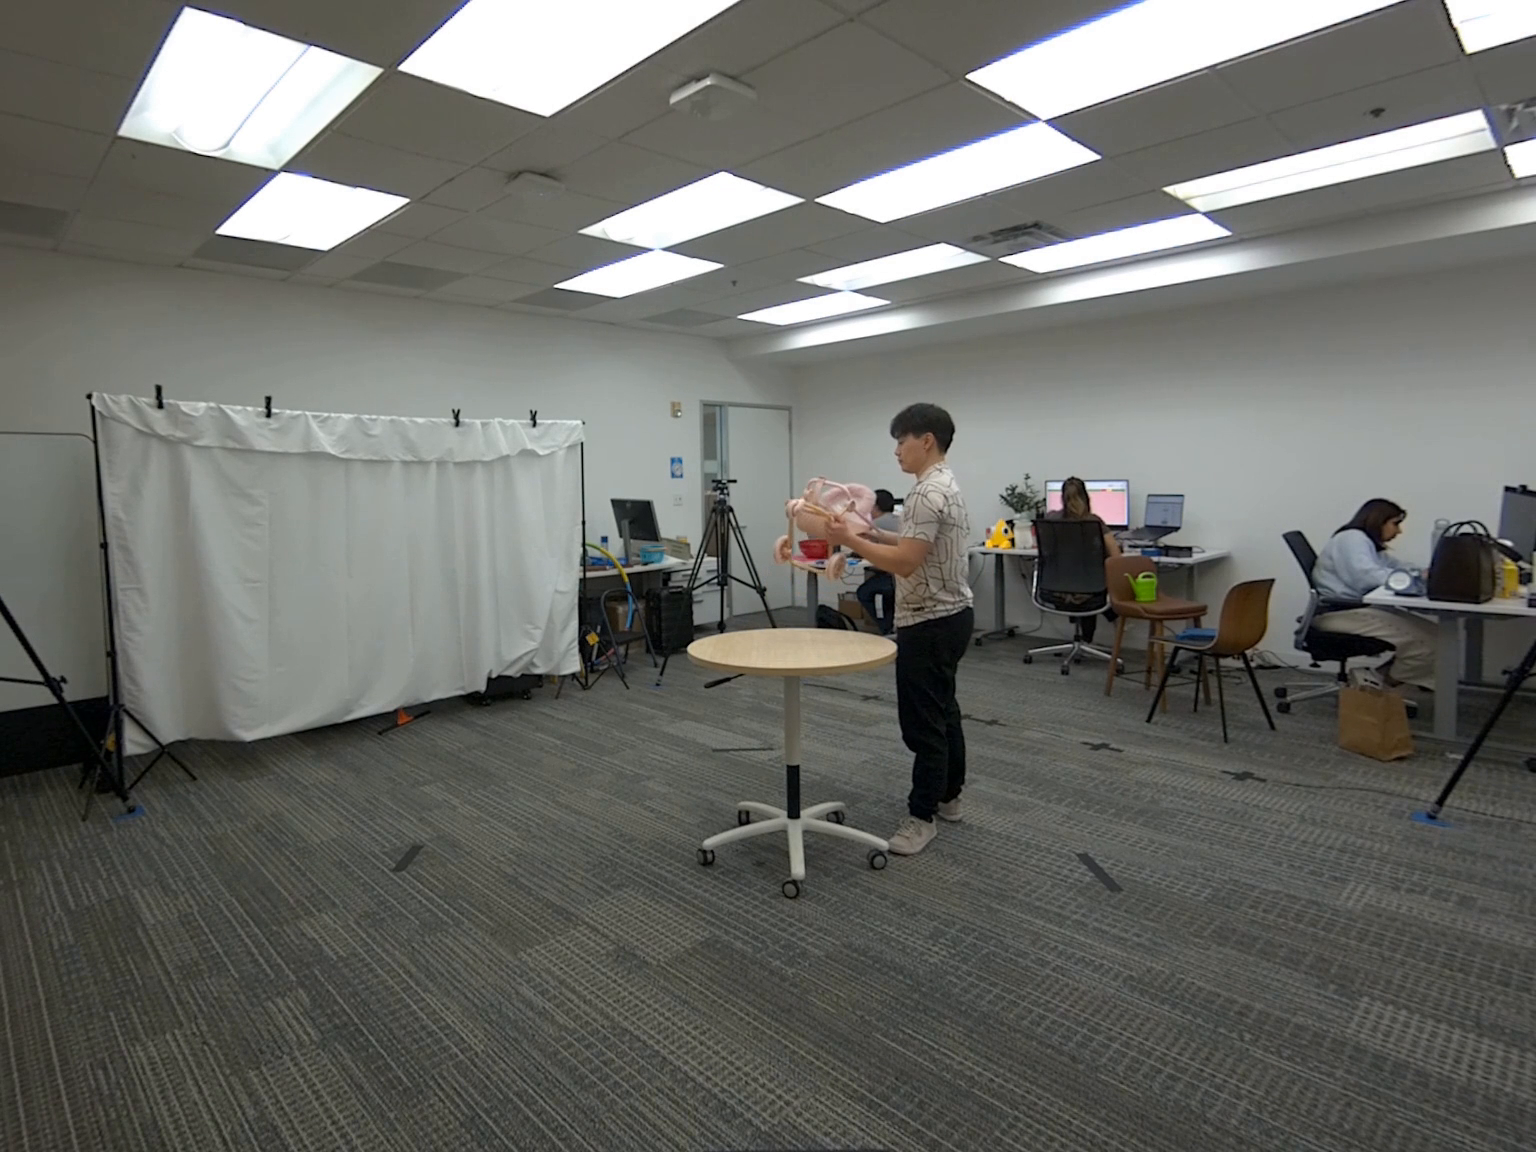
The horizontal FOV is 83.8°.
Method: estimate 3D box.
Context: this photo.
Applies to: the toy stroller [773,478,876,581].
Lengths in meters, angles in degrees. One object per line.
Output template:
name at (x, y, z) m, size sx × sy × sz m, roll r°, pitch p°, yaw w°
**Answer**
toy stroller at (0.241, -0.222, 3.313) m, size 0.291 × 0.333 × 0.529 m, roll 13°, pitch 33°, yaw 39°
